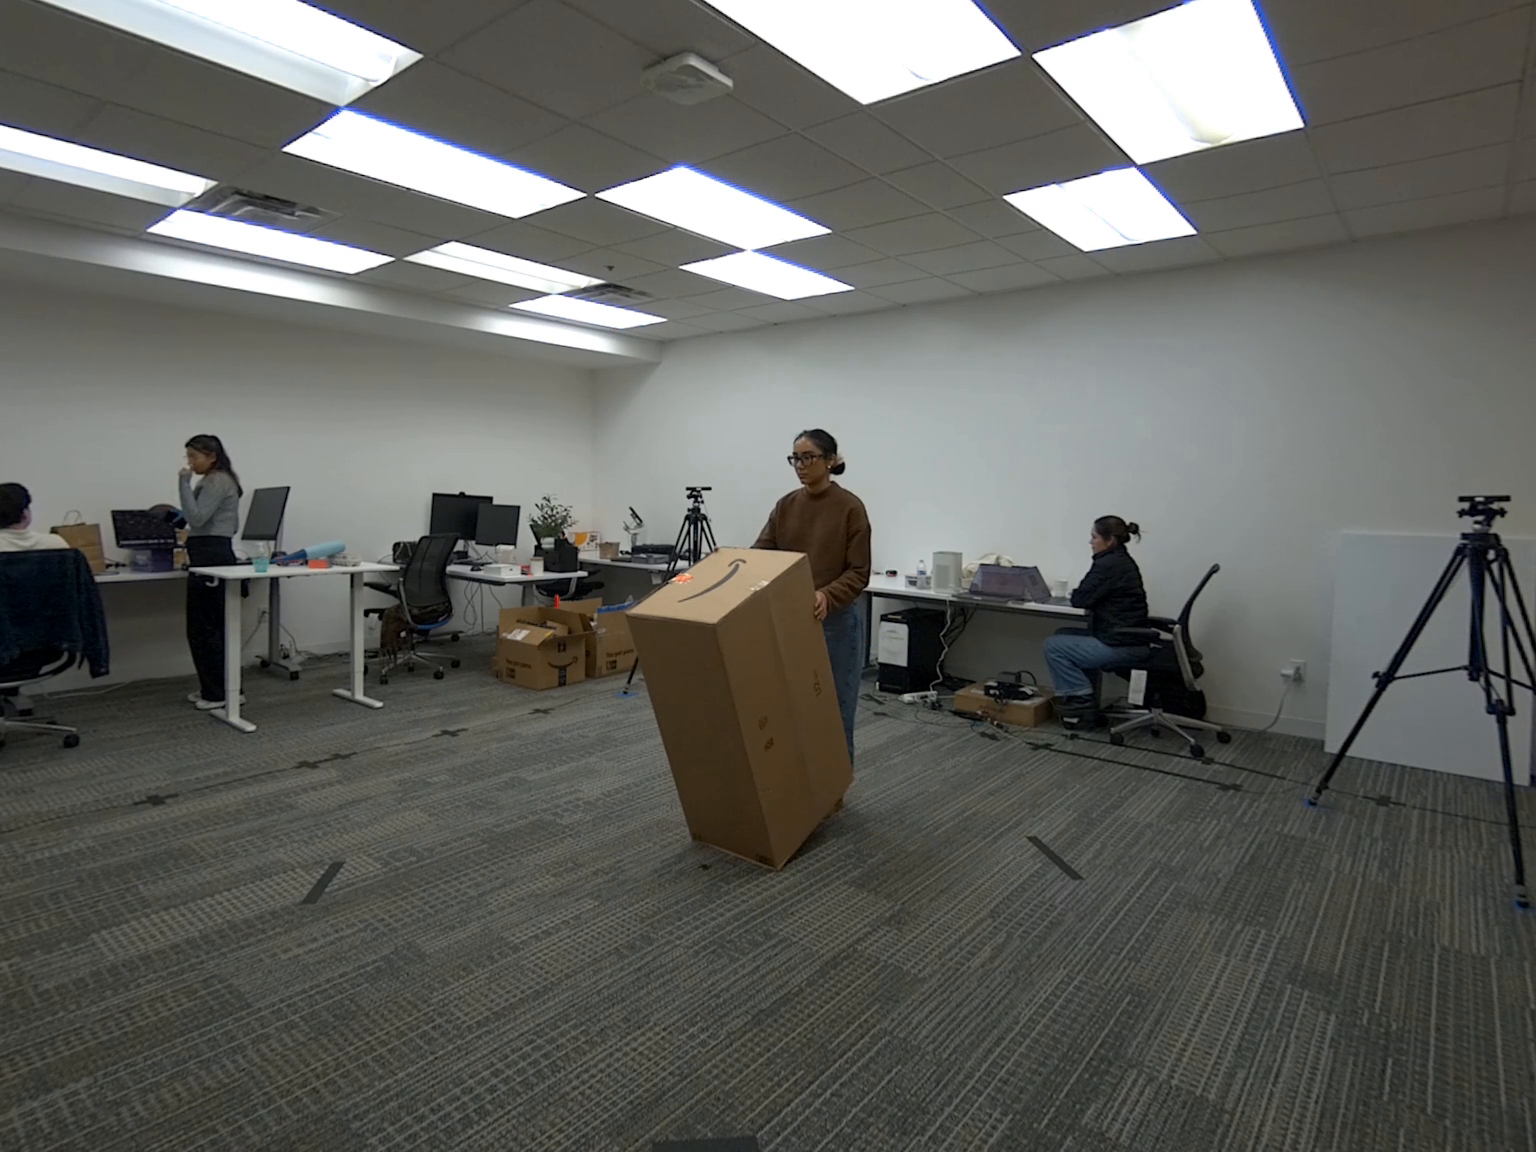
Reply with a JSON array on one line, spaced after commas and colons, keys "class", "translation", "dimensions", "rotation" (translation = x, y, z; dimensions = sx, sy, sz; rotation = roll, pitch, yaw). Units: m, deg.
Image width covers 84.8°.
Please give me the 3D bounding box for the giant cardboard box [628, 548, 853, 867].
[{"class": "giant cardboard box", "translation": [-0.091, 0.478, 3.254], "dimensions": [0.440, 1.003, 0.571], "rotation": [3, 25, 38]}]
